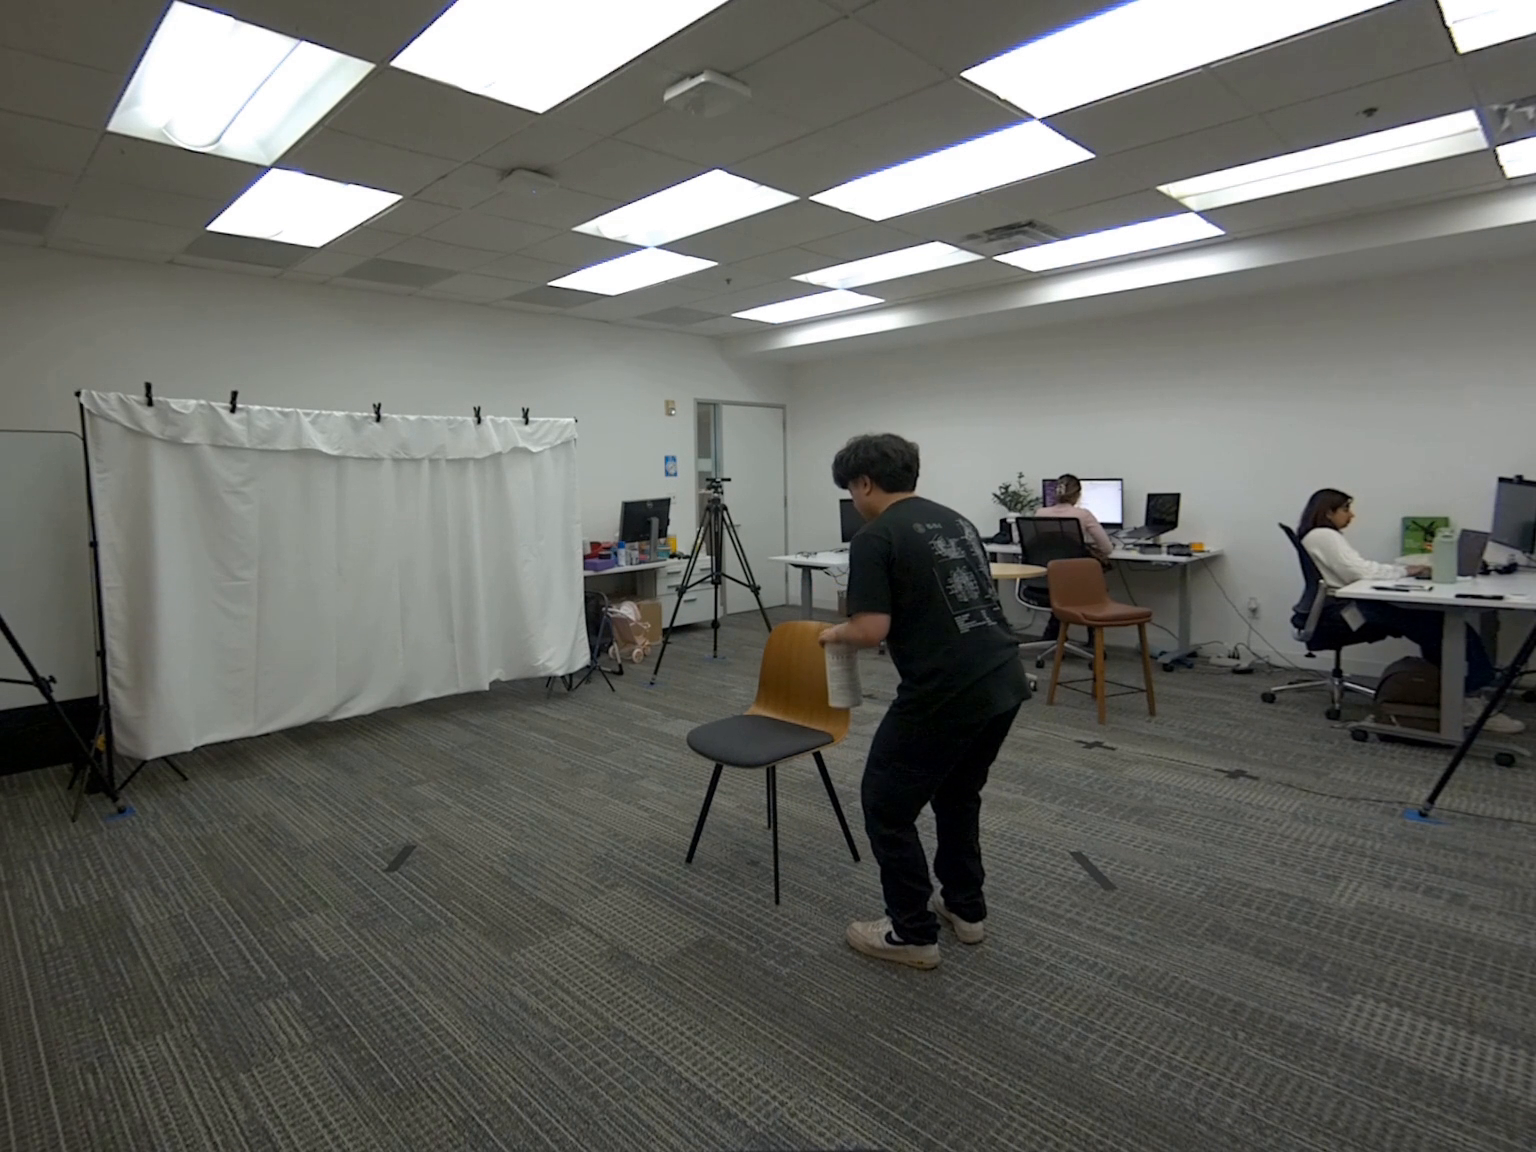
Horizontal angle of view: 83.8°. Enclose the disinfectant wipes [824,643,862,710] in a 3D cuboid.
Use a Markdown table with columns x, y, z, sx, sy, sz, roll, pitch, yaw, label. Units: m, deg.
| x | y | z | sx | sy | sz | roll | pitch | yaw | label |
| --- | --- | --- | --- | --- | --- | --- | --- | --- | --- |
| 0.244 | 0.309 | 2.706 | 0.118 | 0.217 | 0.118 | -3 | 0 | -2 | disinfectant wipes |
